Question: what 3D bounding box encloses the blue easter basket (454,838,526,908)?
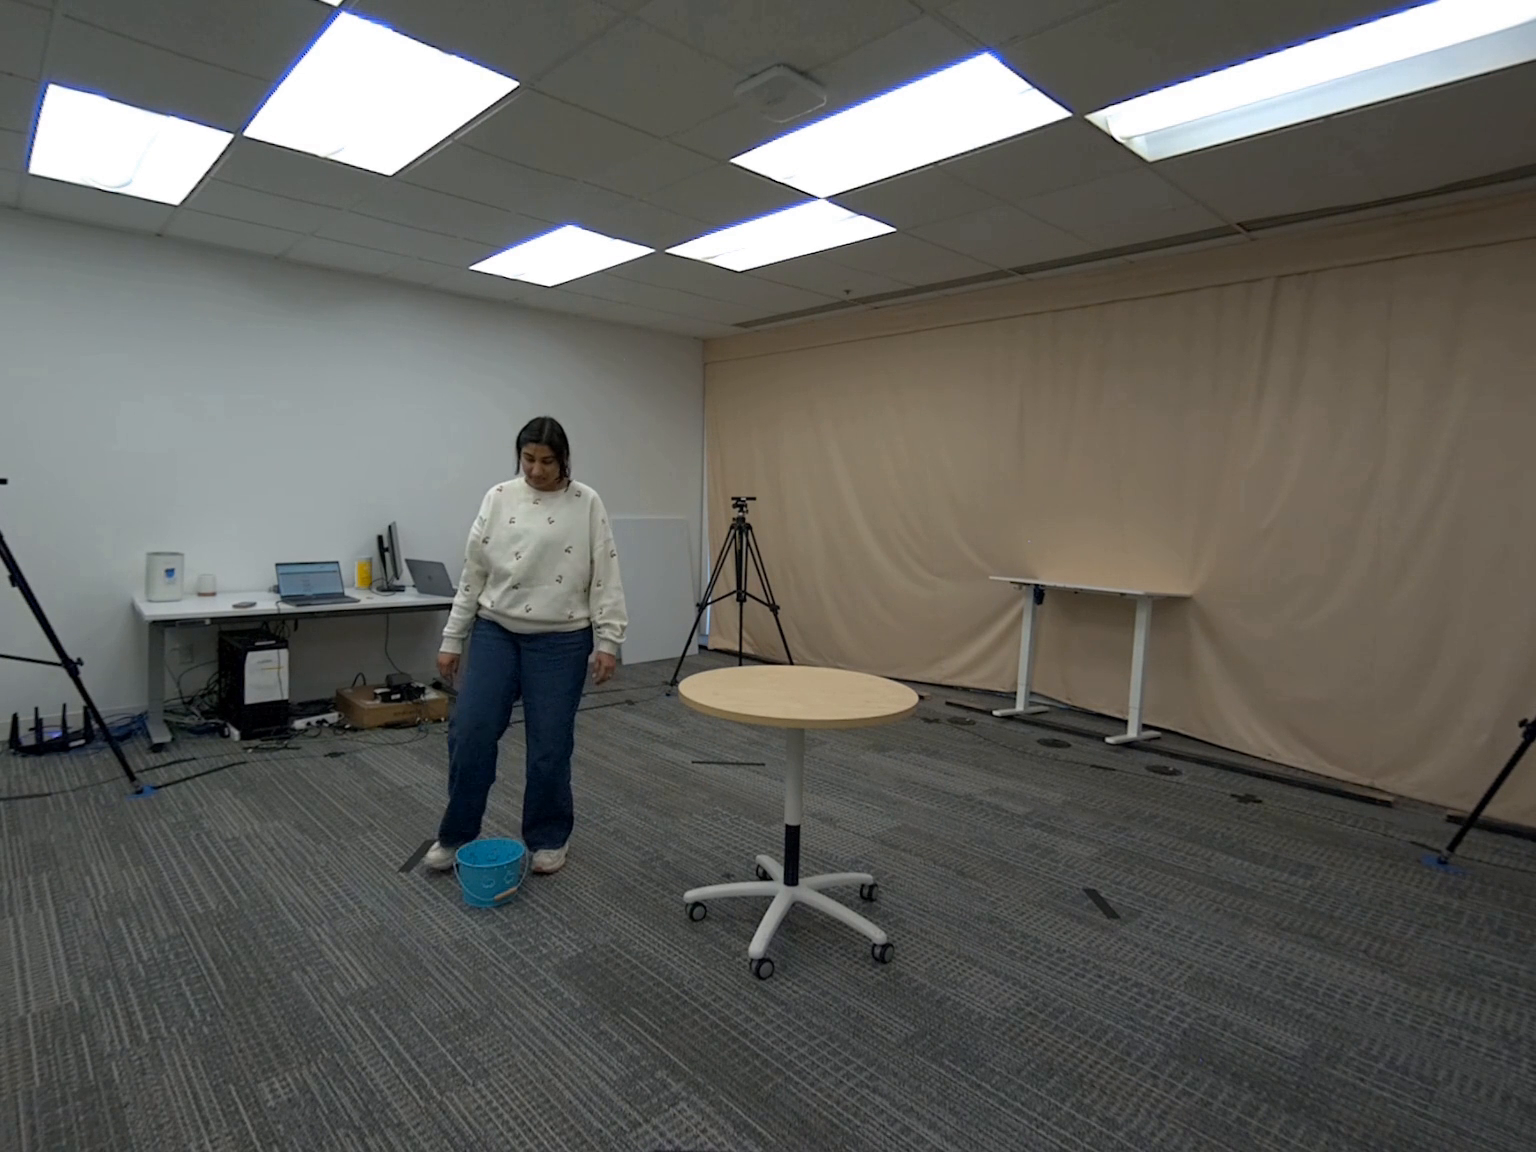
[{"bbox_3d":[-0.981,1.034,2.912,0.243,0.155,0.244,1,5,-1],"label":"blue easter basket"}]
